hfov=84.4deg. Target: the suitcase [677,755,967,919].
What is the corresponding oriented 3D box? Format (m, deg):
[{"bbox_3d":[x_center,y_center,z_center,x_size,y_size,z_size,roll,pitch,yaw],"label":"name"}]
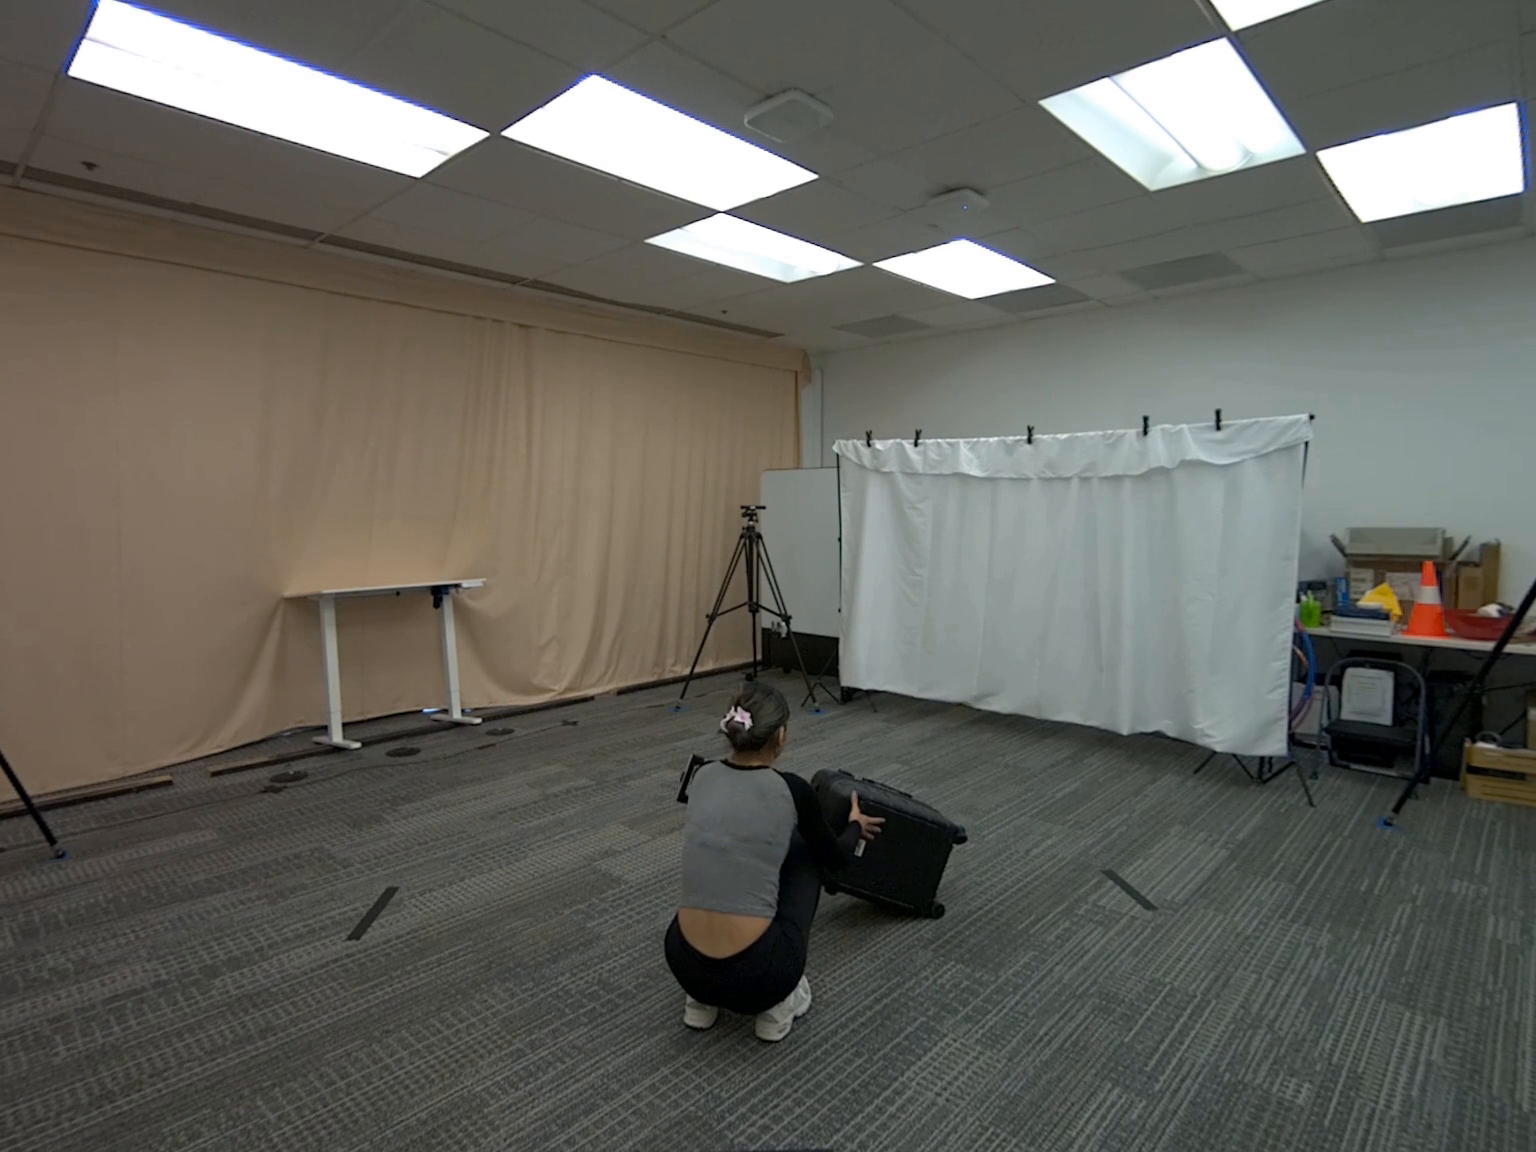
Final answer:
[{"bbox_3d":[0.200,0.831,2.792,0.953,0.384,0.263,23,-5,-23],"label":"suitcase"}]
